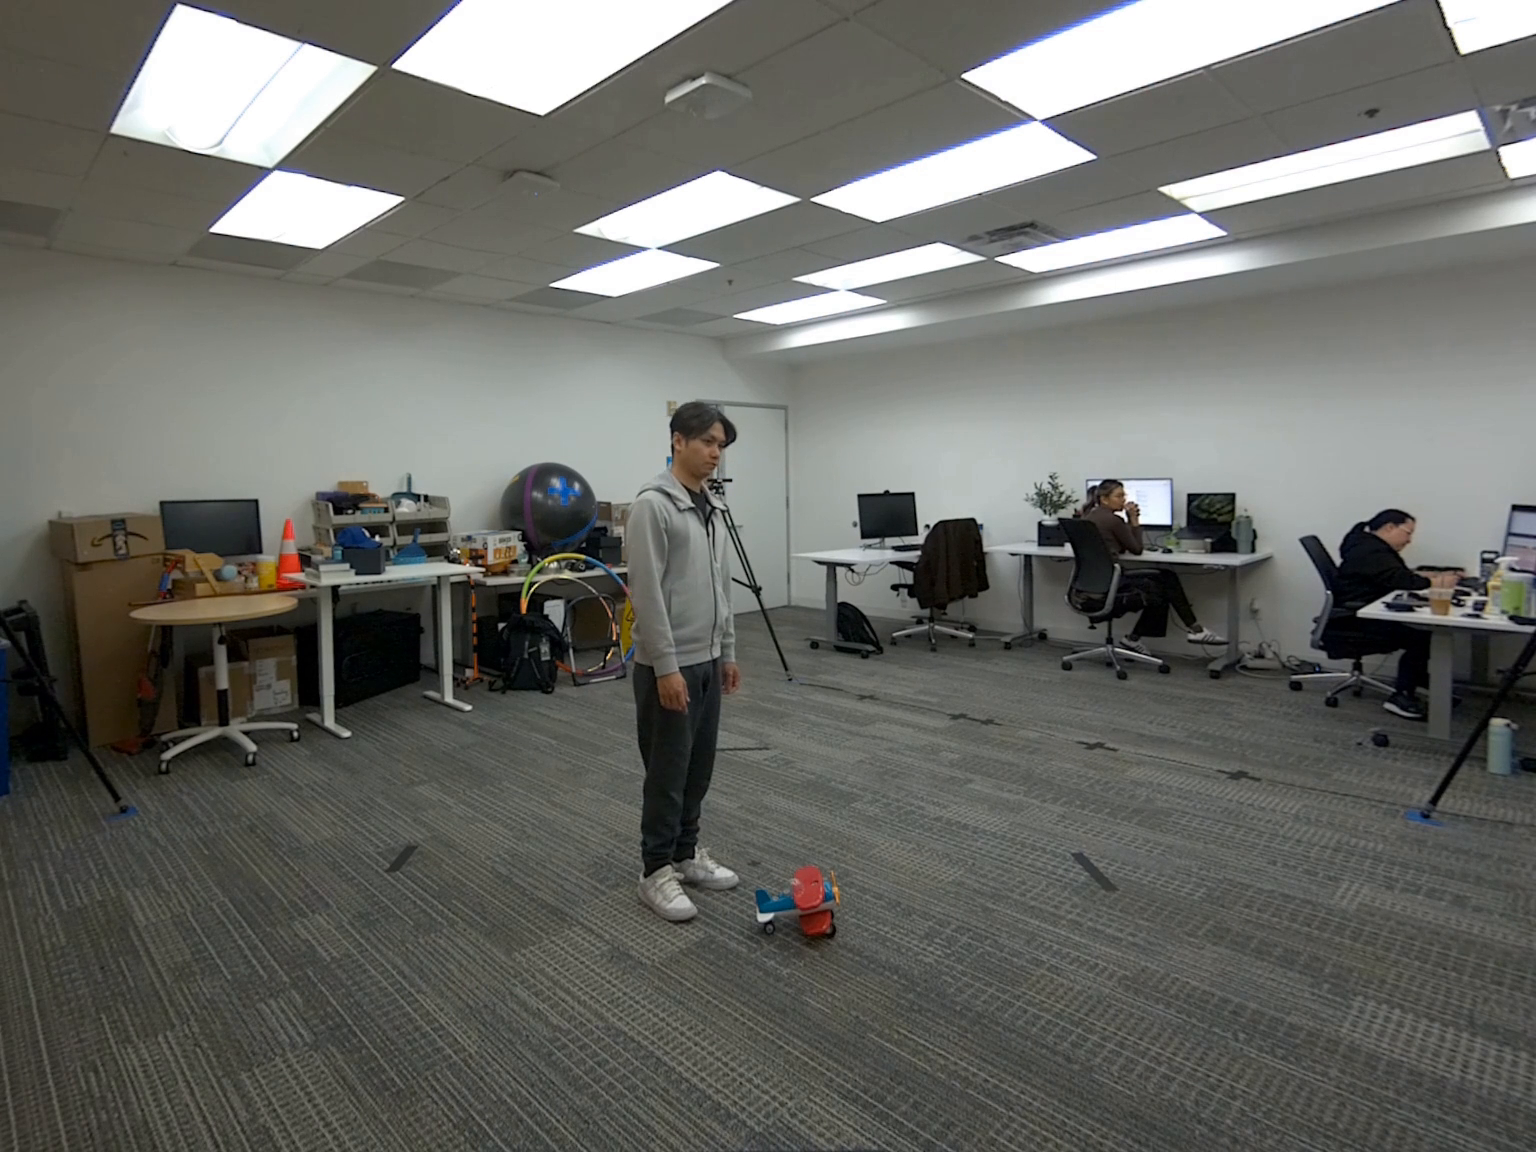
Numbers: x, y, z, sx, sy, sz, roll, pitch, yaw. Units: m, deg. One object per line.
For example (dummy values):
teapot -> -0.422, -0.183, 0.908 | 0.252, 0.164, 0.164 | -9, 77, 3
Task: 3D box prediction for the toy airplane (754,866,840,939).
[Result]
toy airplane -> 0.098, 1.020, 2.623 | 0.254, 0.156, 0.258 | -4, 7, -27
